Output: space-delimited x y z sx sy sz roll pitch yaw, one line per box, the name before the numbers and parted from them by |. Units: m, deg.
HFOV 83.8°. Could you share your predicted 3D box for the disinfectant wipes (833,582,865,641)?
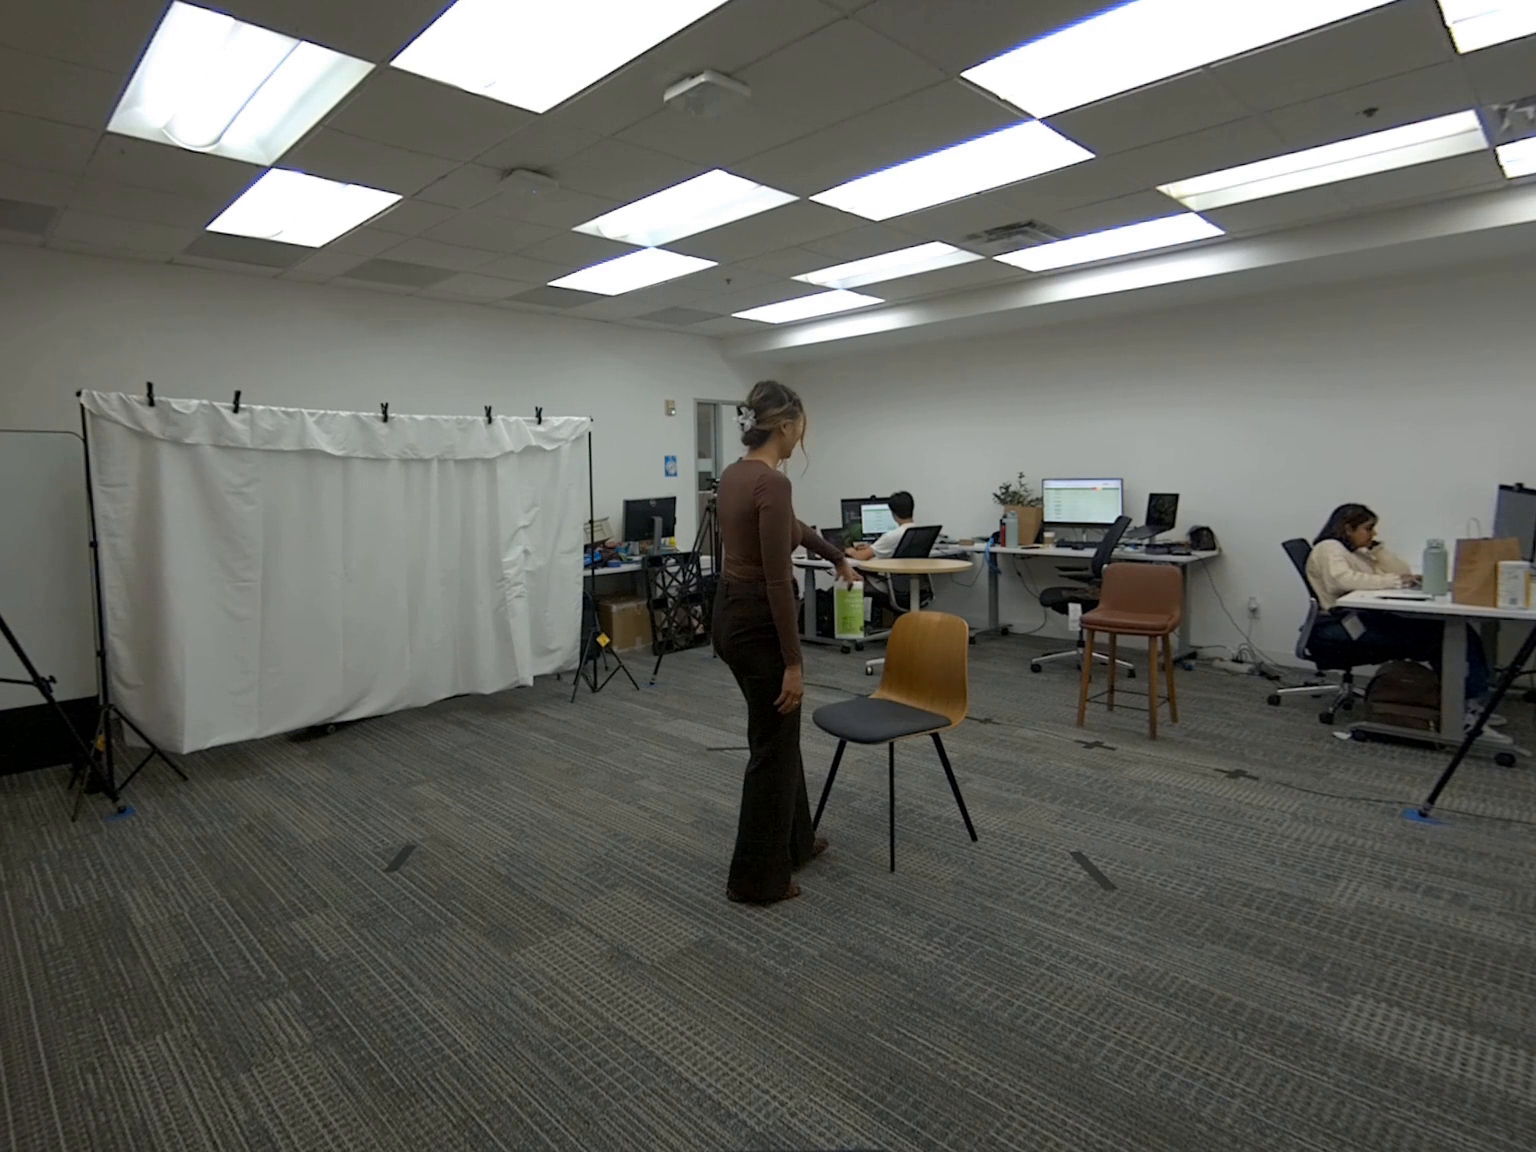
disinfectant wipes | 0.308 0.129 3.220 0.118 0.218 0.118 -1 -1 -2
